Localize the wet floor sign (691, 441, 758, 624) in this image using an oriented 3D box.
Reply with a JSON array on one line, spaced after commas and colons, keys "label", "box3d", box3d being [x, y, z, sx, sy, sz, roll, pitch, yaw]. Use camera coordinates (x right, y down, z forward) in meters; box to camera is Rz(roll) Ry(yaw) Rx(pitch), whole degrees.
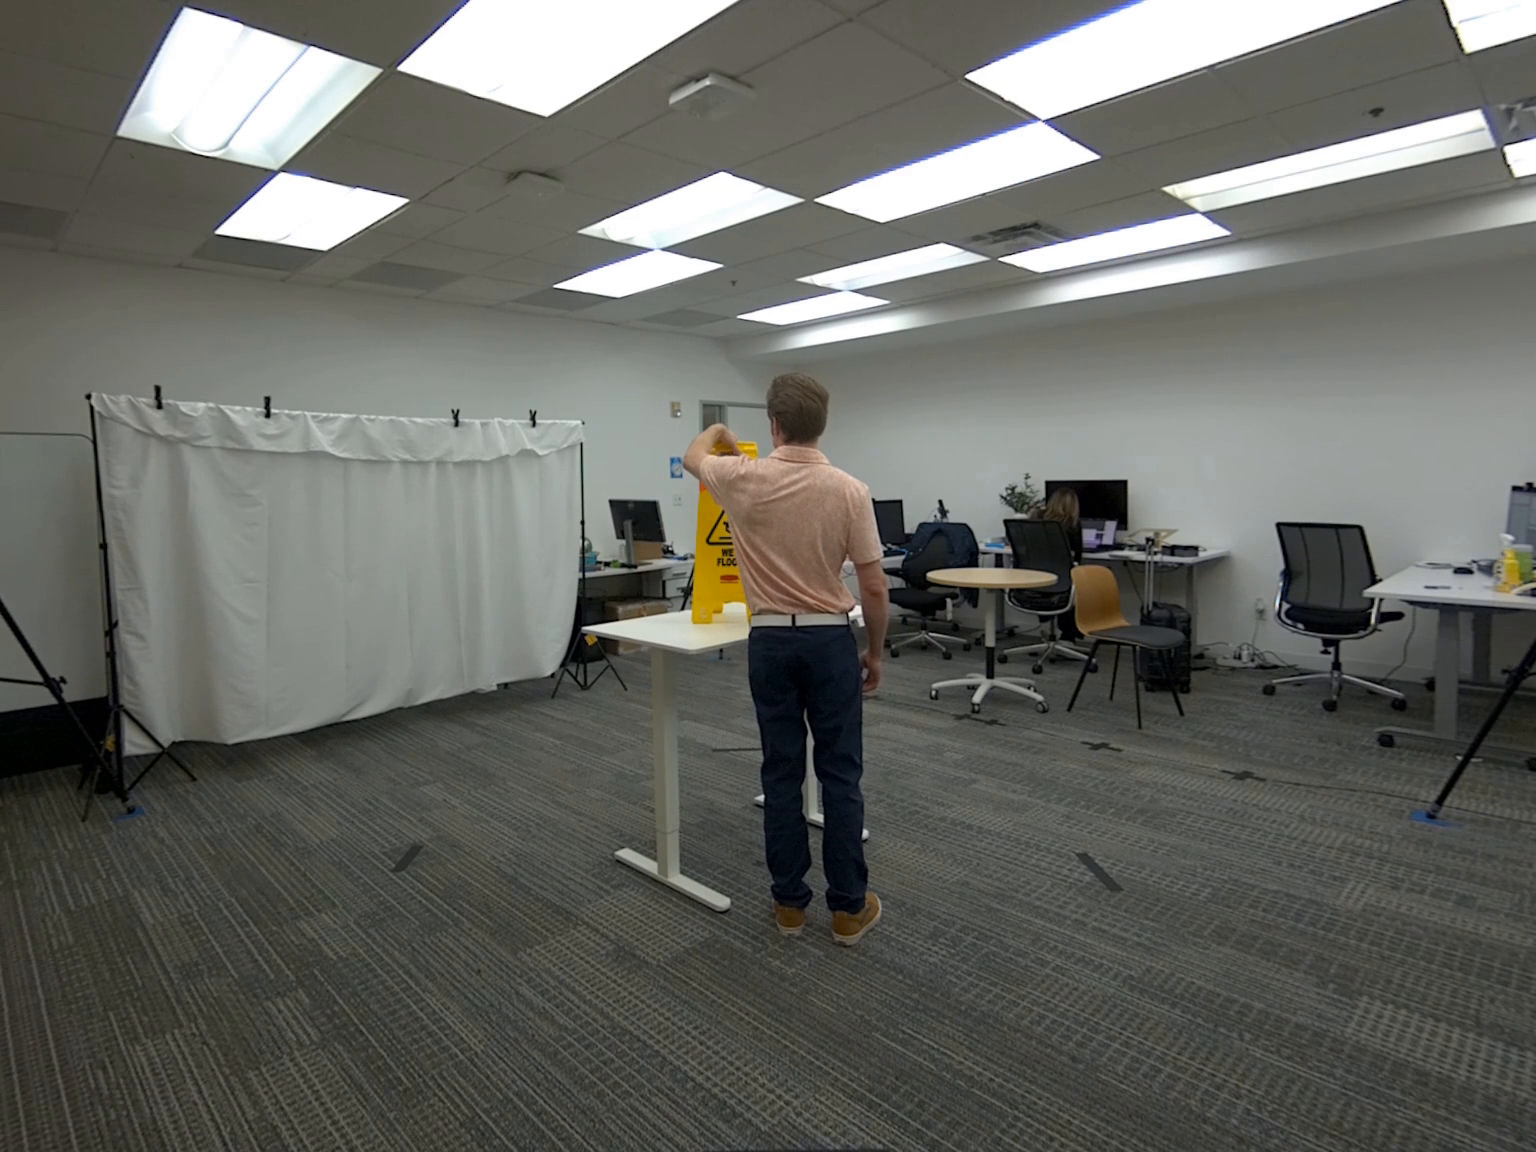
[{"label": "wet floor sign", "box3d": [-0.130, -0.162, 3.154, 0.284, 0.644, 0.289, -1, 4, 6]}]
